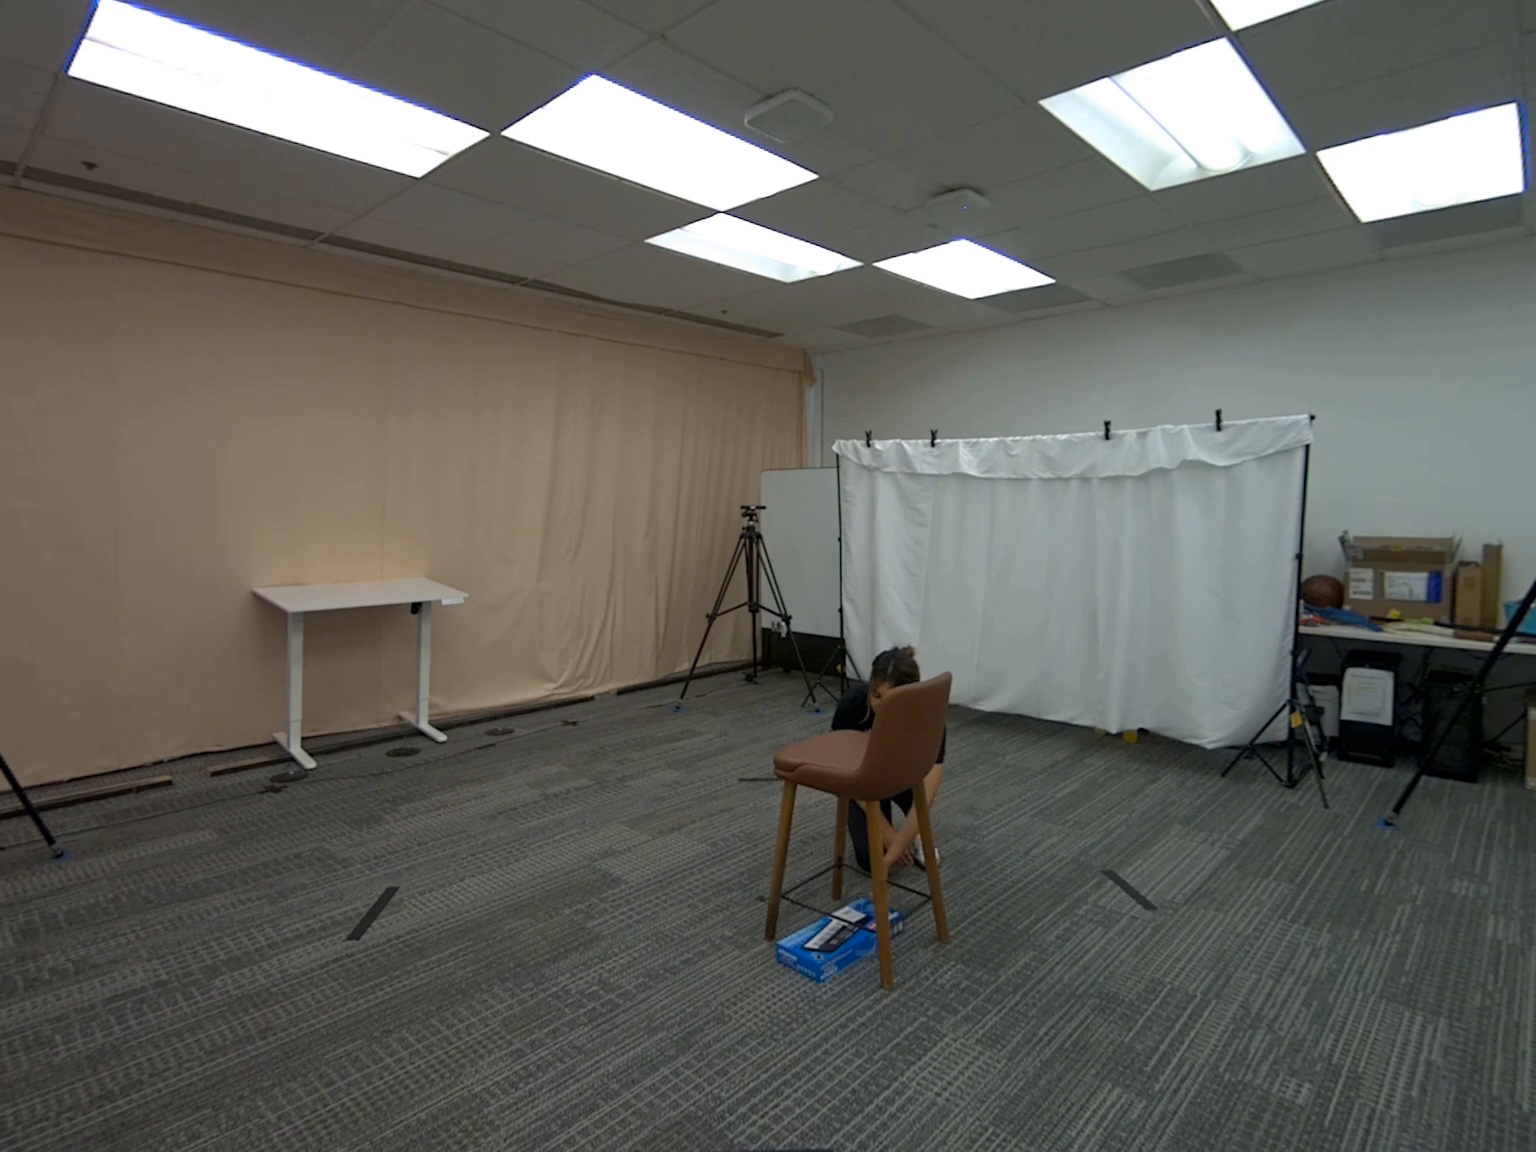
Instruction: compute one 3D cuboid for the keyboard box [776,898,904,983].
[{"bbox_3d":[0.232,1.134,2.664,0.182,0.059,0.423,4,6,44],"label":"keyboard box"}]
